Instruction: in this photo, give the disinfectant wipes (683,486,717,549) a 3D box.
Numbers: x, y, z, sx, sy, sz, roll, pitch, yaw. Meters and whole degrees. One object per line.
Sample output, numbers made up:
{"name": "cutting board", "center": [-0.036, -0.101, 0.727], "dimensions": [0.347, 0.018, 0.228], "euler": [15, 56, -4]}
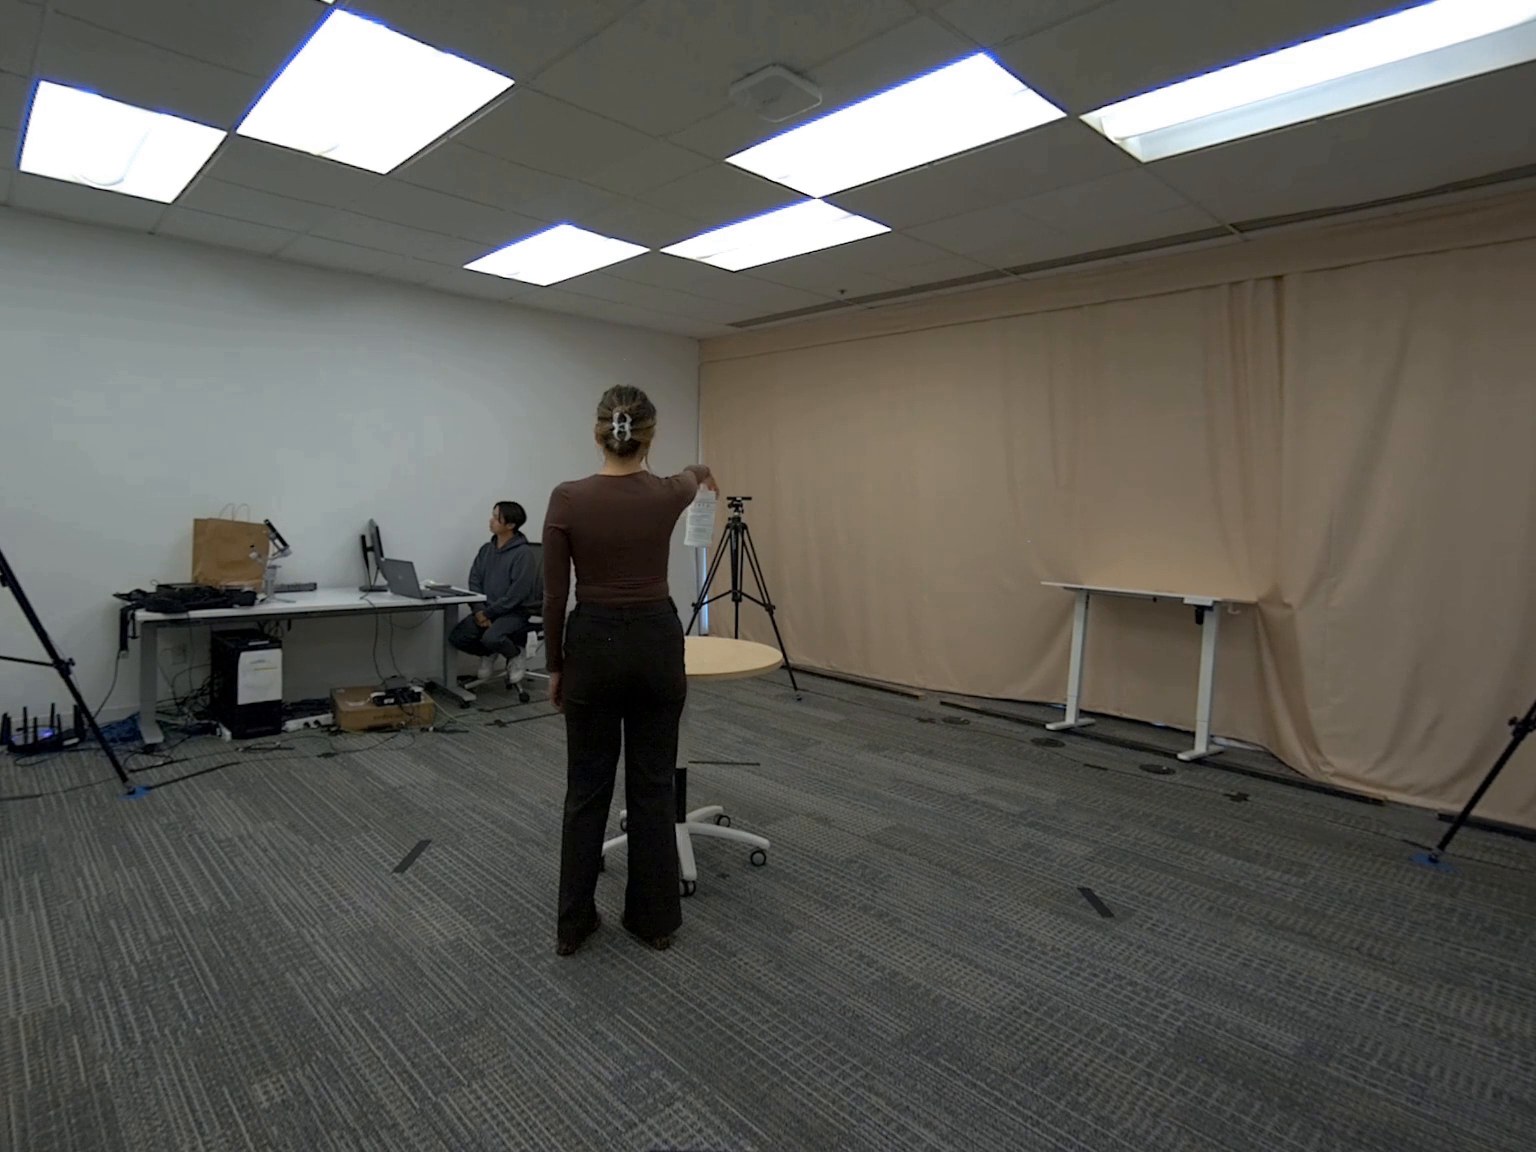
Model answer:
{"name": "disinfectant wipes", "center": [-0.262, -0.216, 3.164], "dimensions": [0.118, 0.217, 0.118], "euler": [5, 4, -2]}
